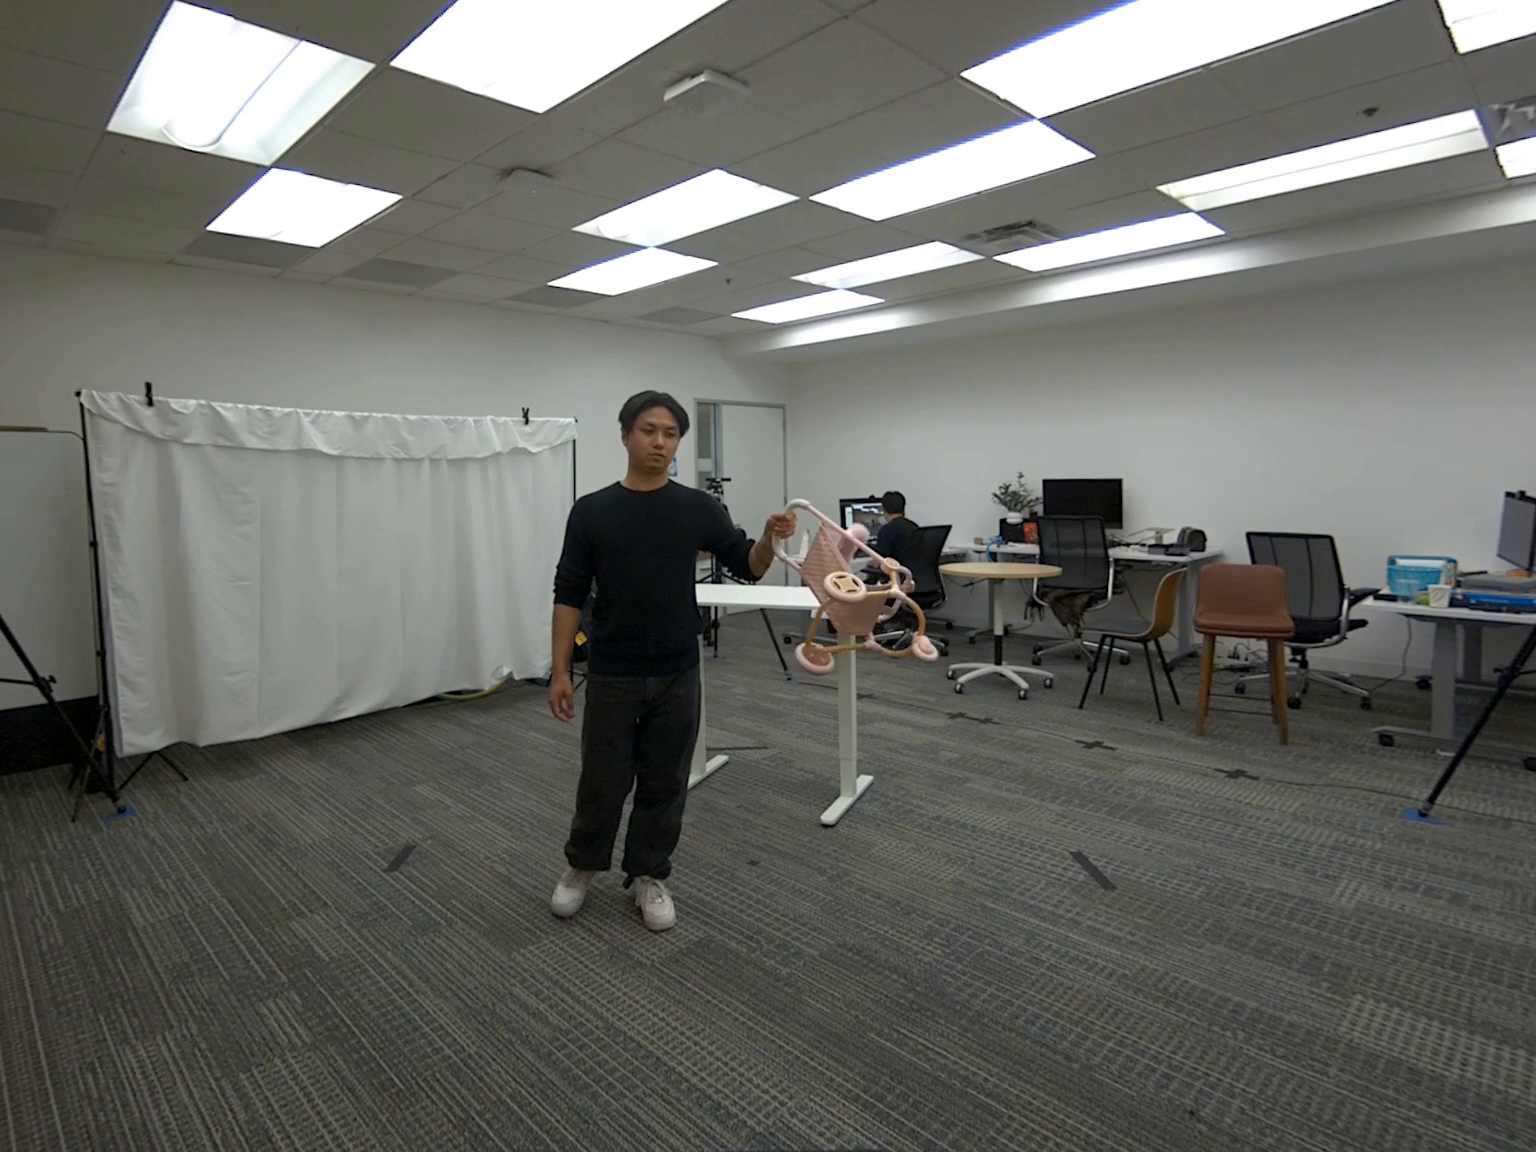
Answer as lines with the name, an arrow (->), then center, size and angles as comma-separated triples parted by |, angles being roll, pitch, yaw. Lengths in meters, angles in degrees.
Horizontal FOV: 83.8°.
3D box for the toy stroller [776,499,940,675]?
toy stroller -> 0.231, 0.031, 2.345 | 0.336, 0.276, 0.552 | 4, 38, -15
